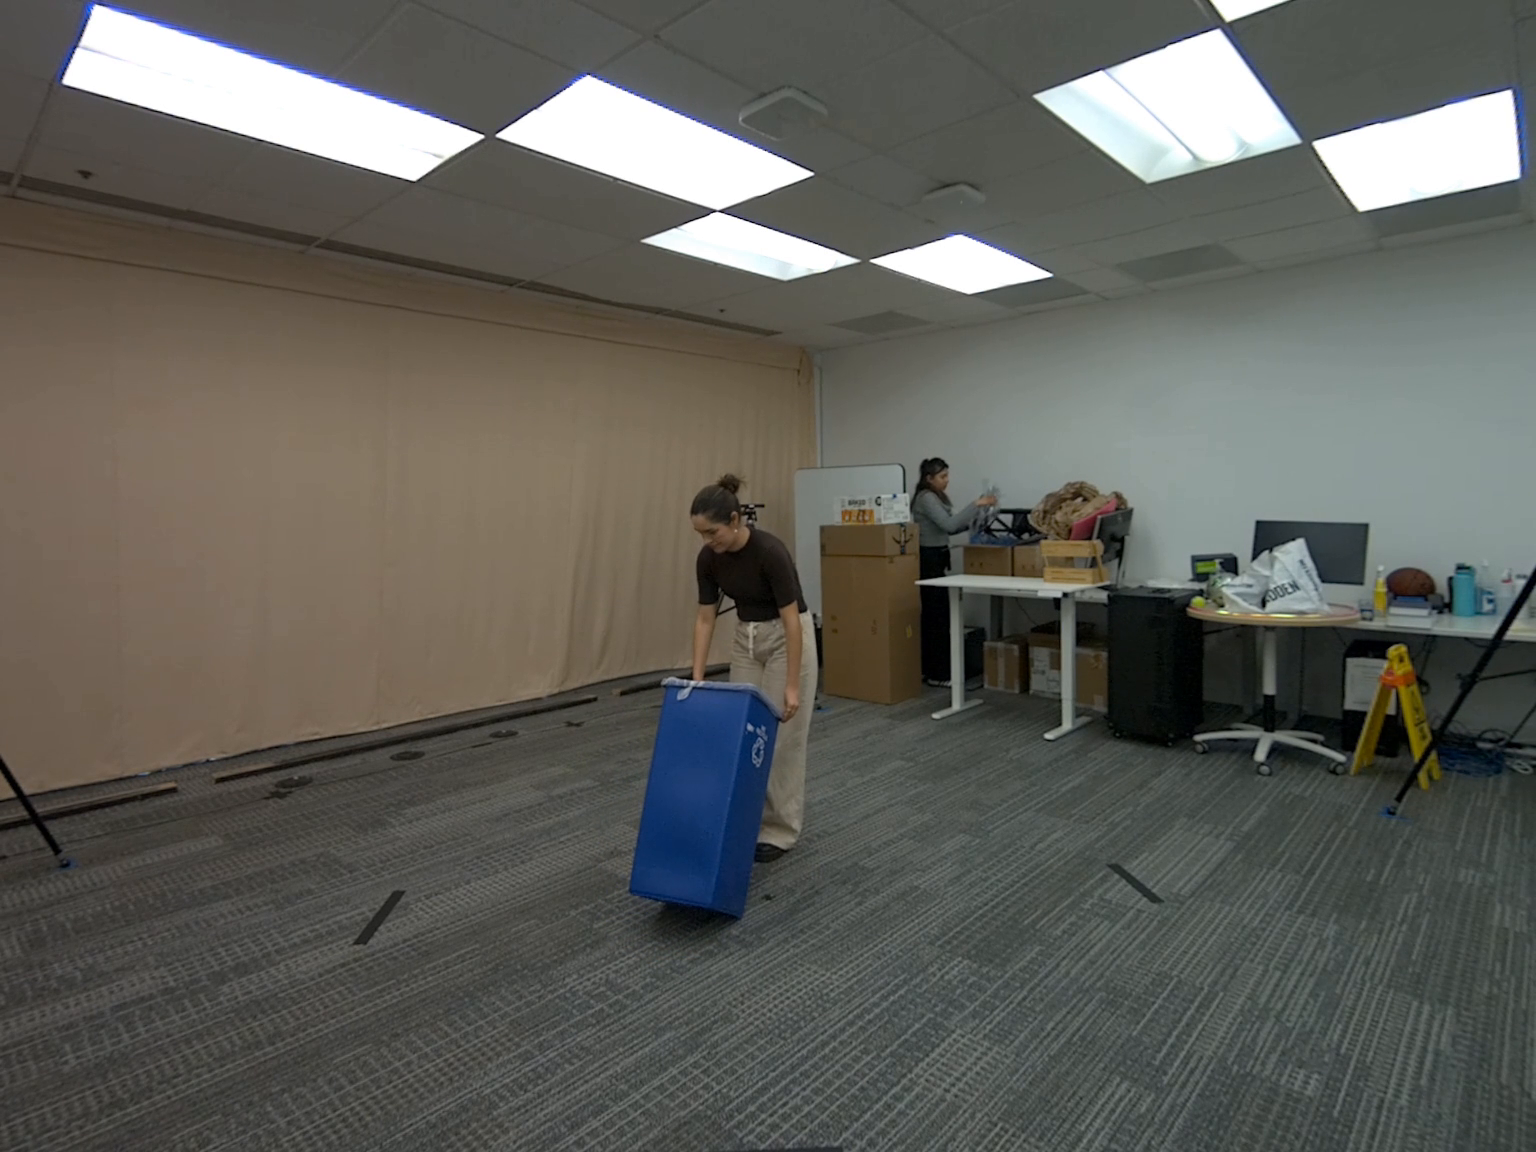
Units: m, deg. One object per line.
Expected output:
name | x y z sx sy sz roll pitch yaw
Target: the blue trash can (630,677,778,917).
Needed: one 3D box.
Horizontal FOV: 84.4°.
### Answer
blue trash can | -0.215 0.765 2.935 0.387 0.720 0.362 0 -26 22
